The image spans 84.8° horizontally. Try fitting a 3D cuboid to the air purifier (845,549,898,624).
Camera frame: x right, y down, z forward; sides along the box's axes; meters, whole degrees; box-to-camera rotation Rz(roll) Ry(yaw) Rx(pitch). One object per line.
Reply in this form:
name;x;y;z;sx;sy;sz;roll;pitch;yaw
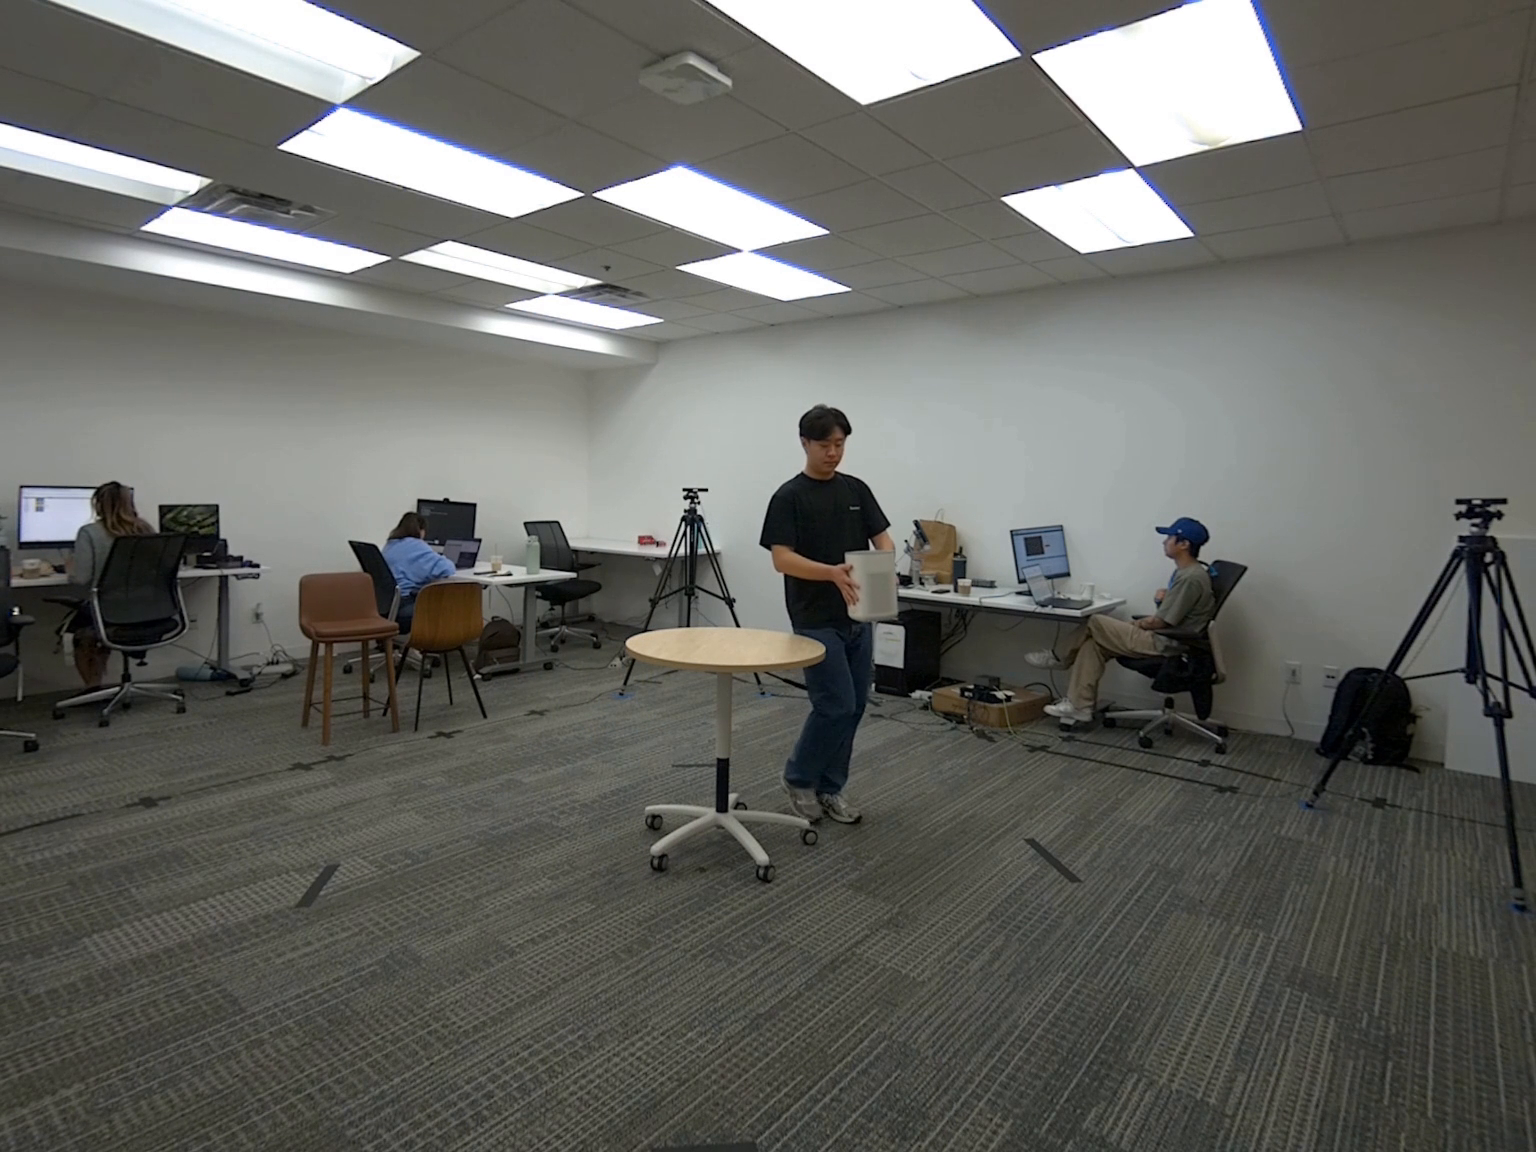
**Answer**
air purifier;0.393;0.035;3.304;0.171;0.265;0.172;-4;2;-6
